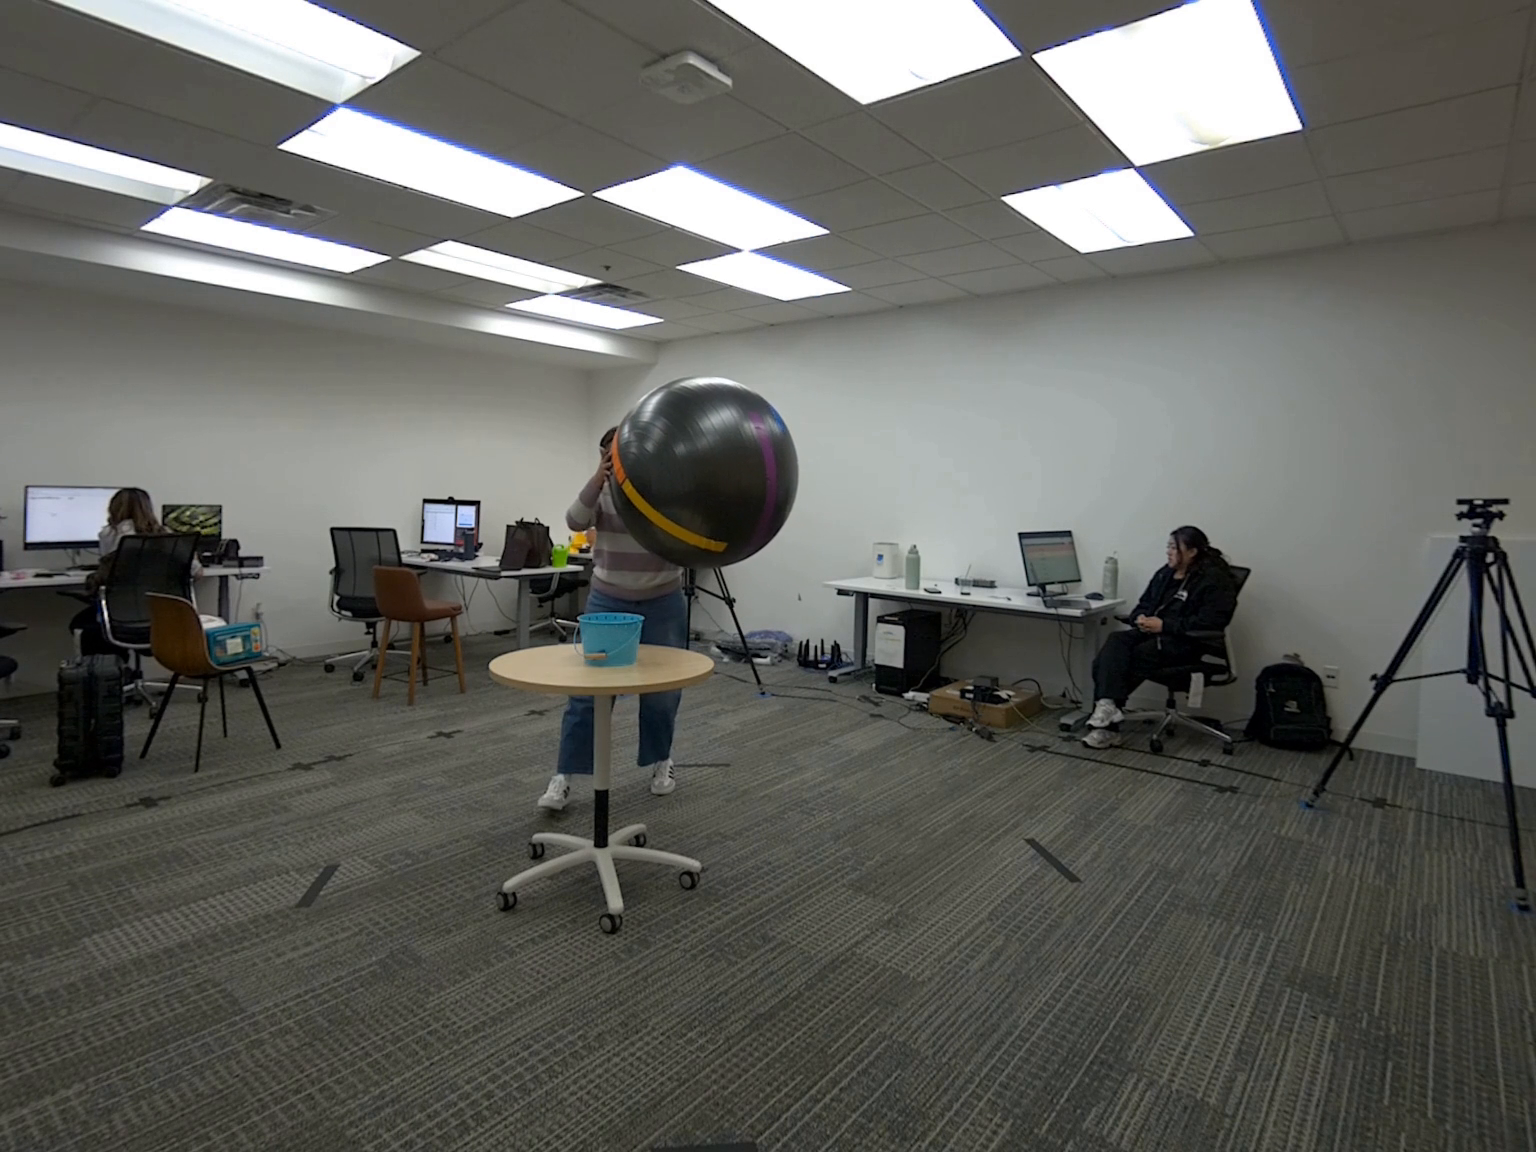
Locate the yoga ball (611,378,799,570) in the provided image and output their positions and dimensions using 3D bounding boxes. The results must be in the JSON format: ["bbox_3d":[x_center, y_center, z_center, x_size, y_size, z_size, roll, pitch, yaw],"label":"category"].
[{"bbox_3d":[-0.266,-0.403,3.372,0.757,0.755,0.762,1,4,-2],"label":"yoga ball"}]
